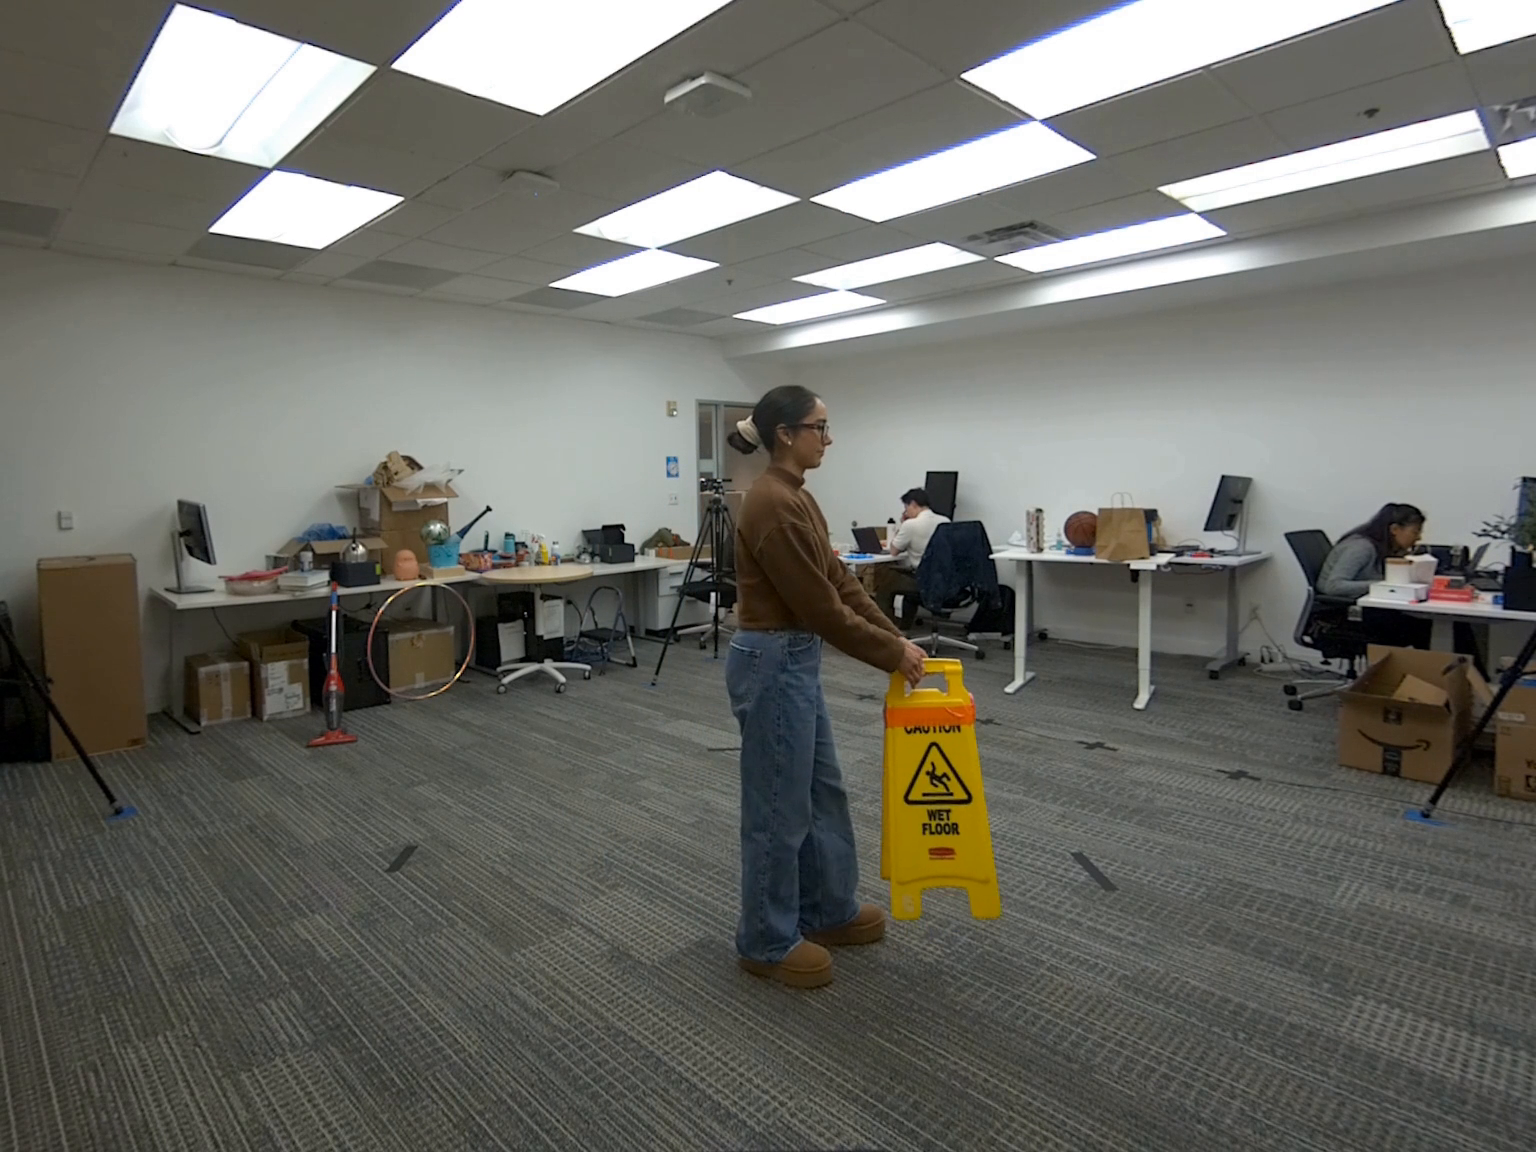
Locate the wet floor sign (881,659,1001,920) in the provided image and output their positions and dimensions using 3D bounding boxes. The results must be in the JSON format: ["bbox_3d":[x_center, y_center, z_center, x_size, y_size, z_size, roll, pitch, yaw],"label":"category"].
[{"bbox_3d":[0.451,0.555,2.345,0.282,0.647,0.289,-3,-2,-1],"label":"wet floor sign"}]
